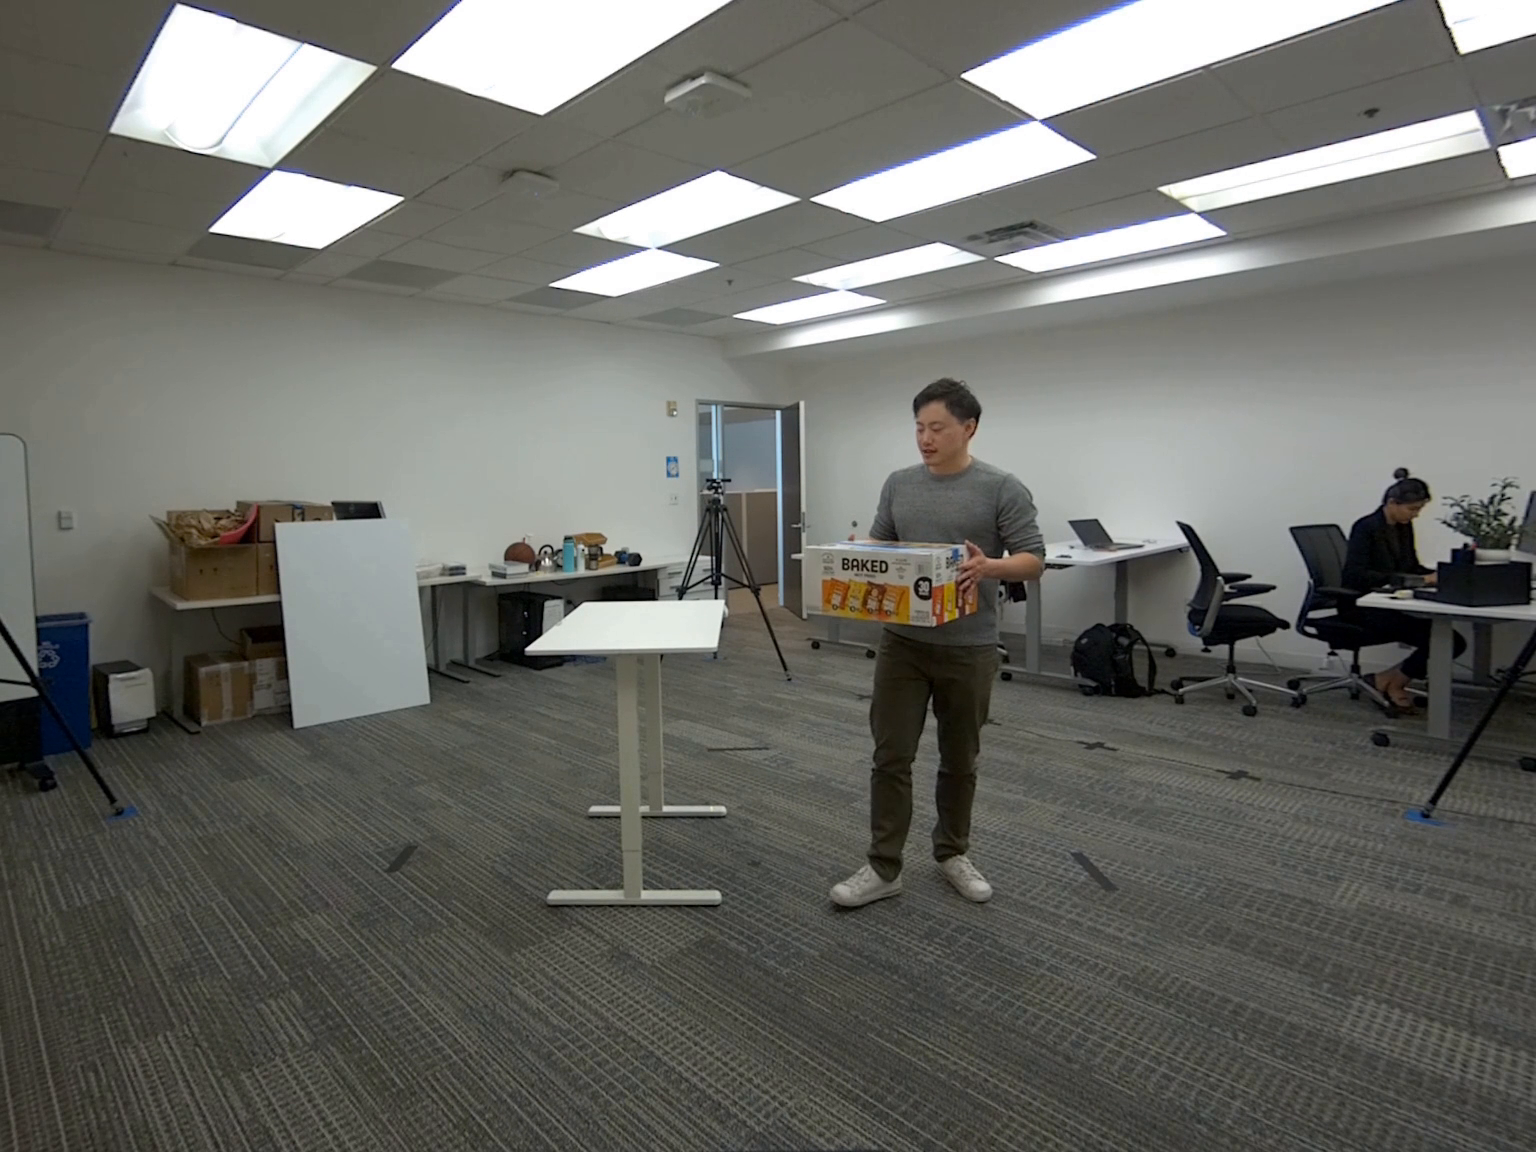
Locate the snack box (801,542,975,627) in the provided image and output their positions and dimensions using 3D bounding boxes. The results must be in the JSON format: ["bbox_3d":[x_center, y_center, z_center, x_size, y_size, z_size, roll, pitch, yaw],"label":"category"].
[{"bbox_3d":[0.370,0.012,2.560,0.417,0.205,0.332,4,7,35],"label":"snack box"}]
